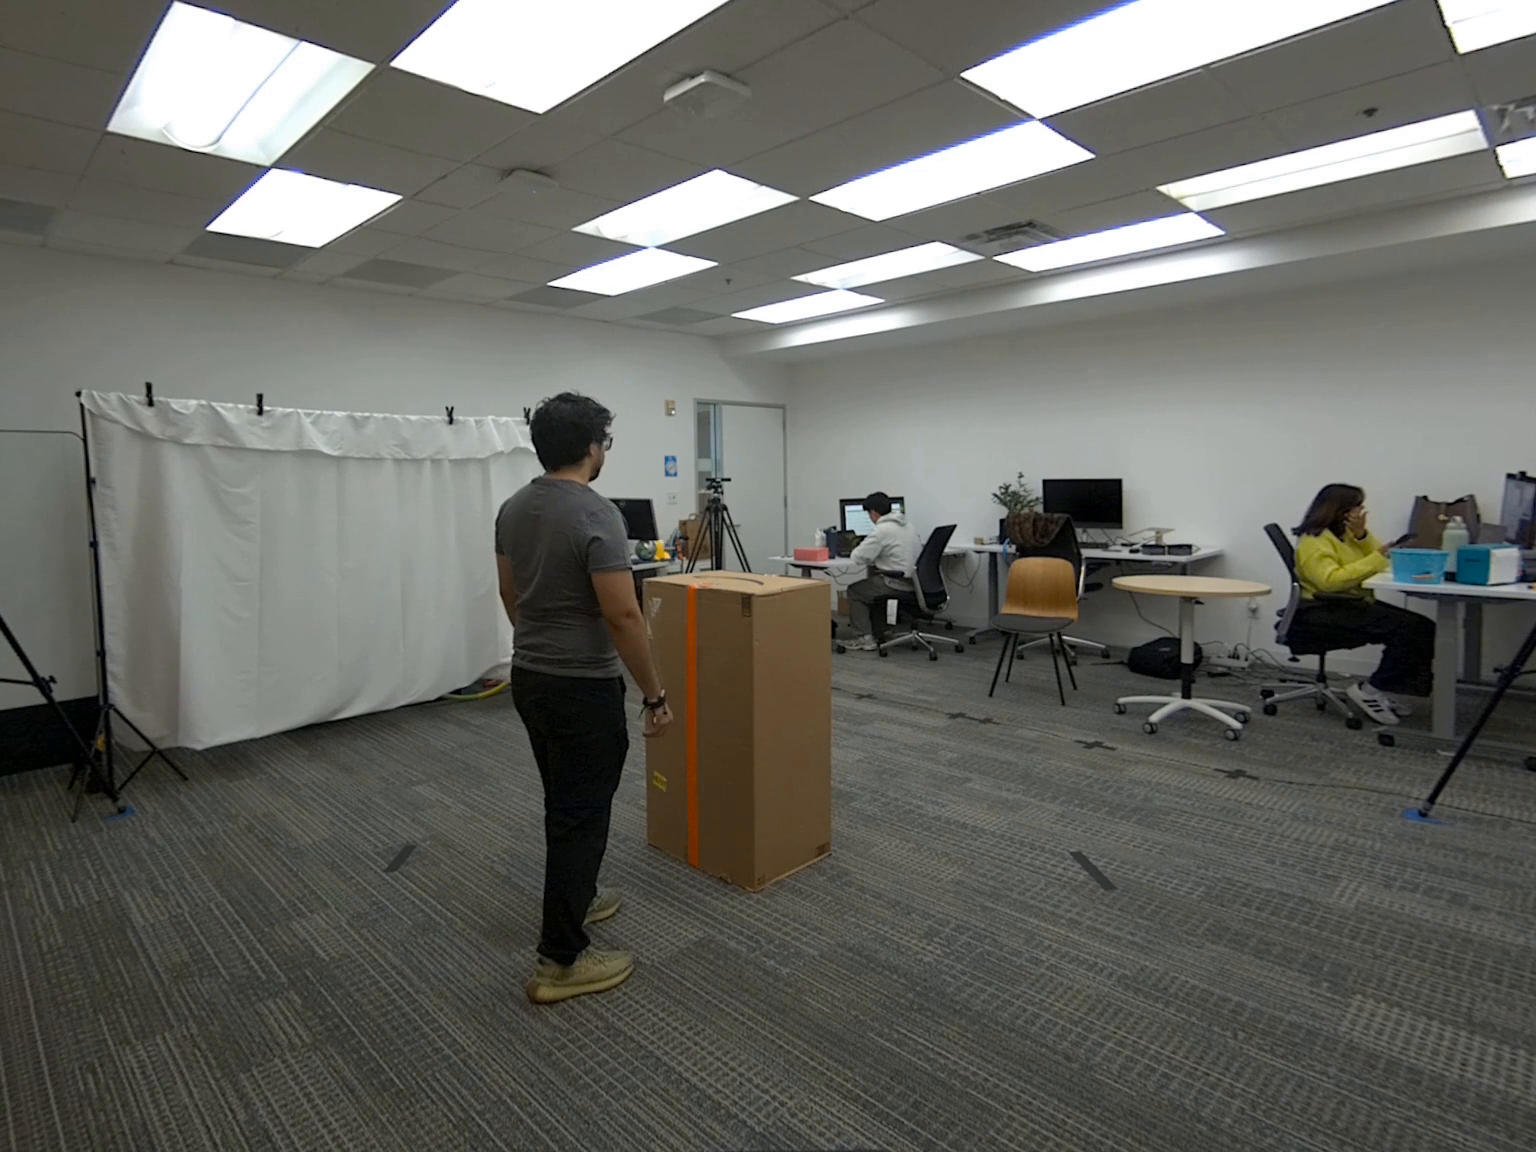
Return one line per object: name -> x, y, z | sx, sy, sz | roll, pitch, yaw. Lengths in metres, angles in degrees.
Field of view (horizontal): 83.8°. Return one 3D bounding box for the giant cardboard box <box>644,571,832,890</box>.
giant cardboard box -> -0.118, 0.525, 3.188 | 0.595, 1.022, 0.415 | 4, 6, 45
